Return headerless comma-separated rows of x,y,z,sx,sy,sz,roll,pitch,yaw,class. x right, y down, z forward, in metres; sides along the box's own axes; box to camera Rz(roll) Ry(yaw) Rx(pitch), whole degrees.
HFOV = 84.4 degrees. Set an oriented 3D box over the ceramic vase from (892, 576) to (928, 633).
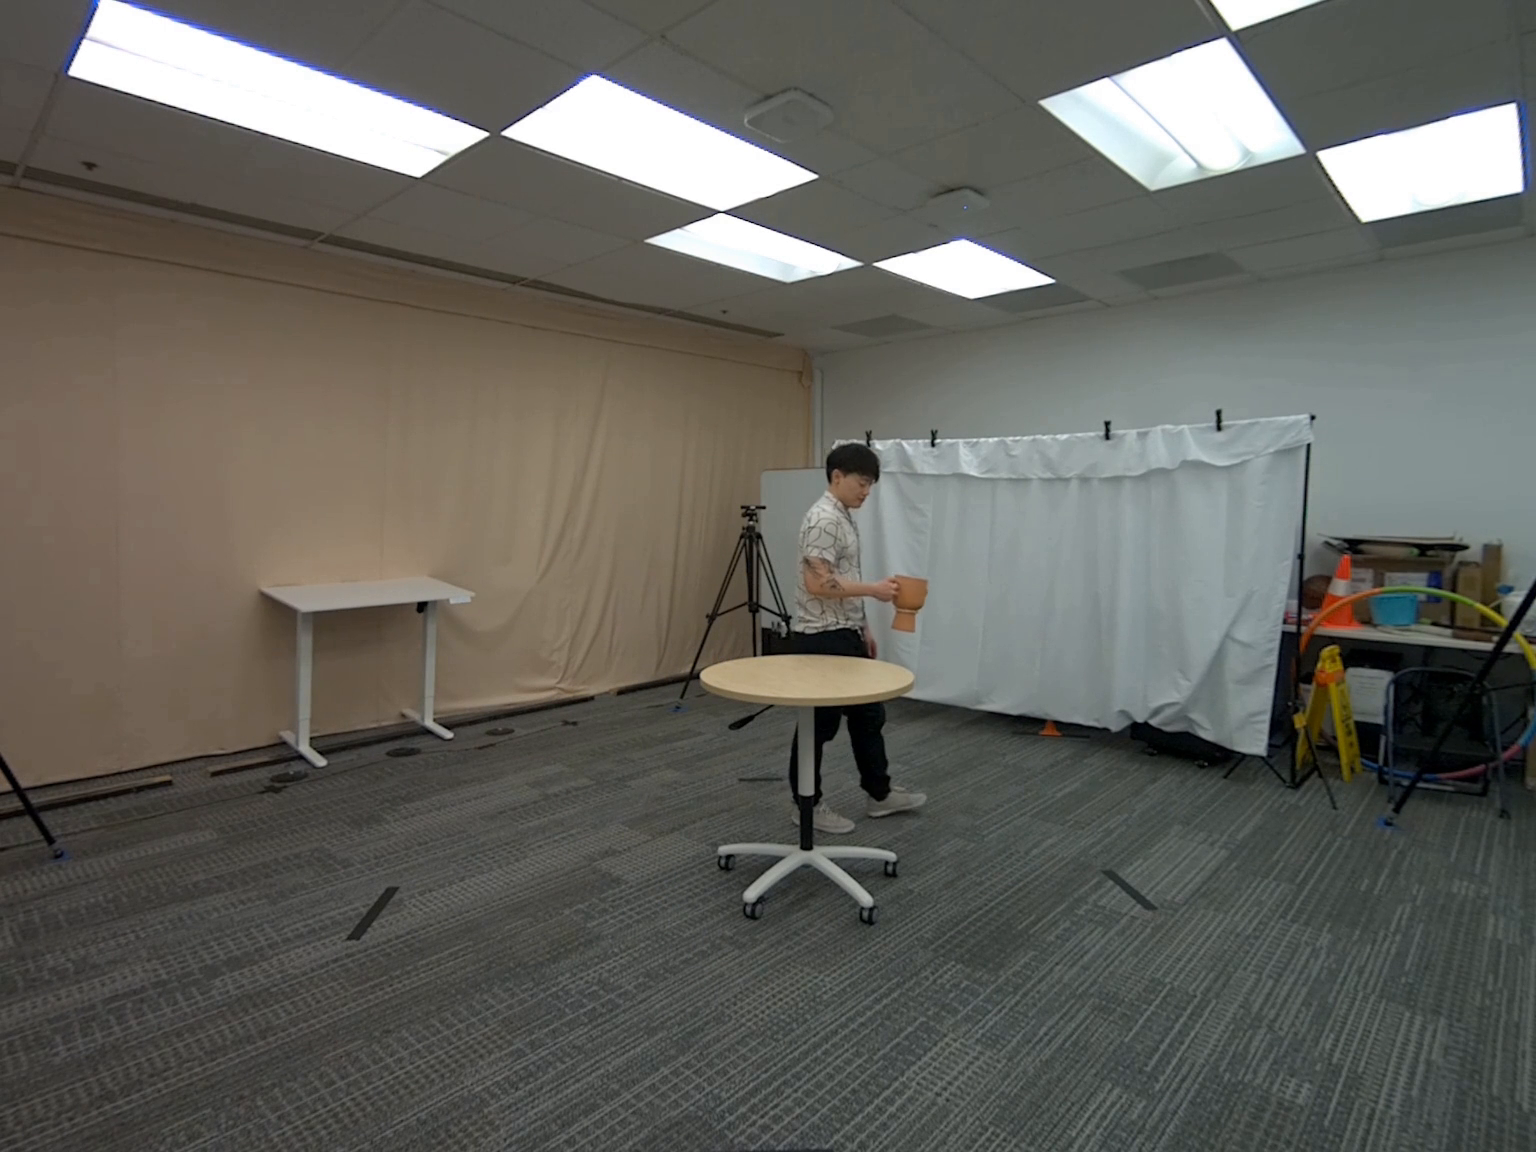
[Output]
0.581,0.113,3.450,0.160,0.220,0.134,9,0,5,ceramic vase
